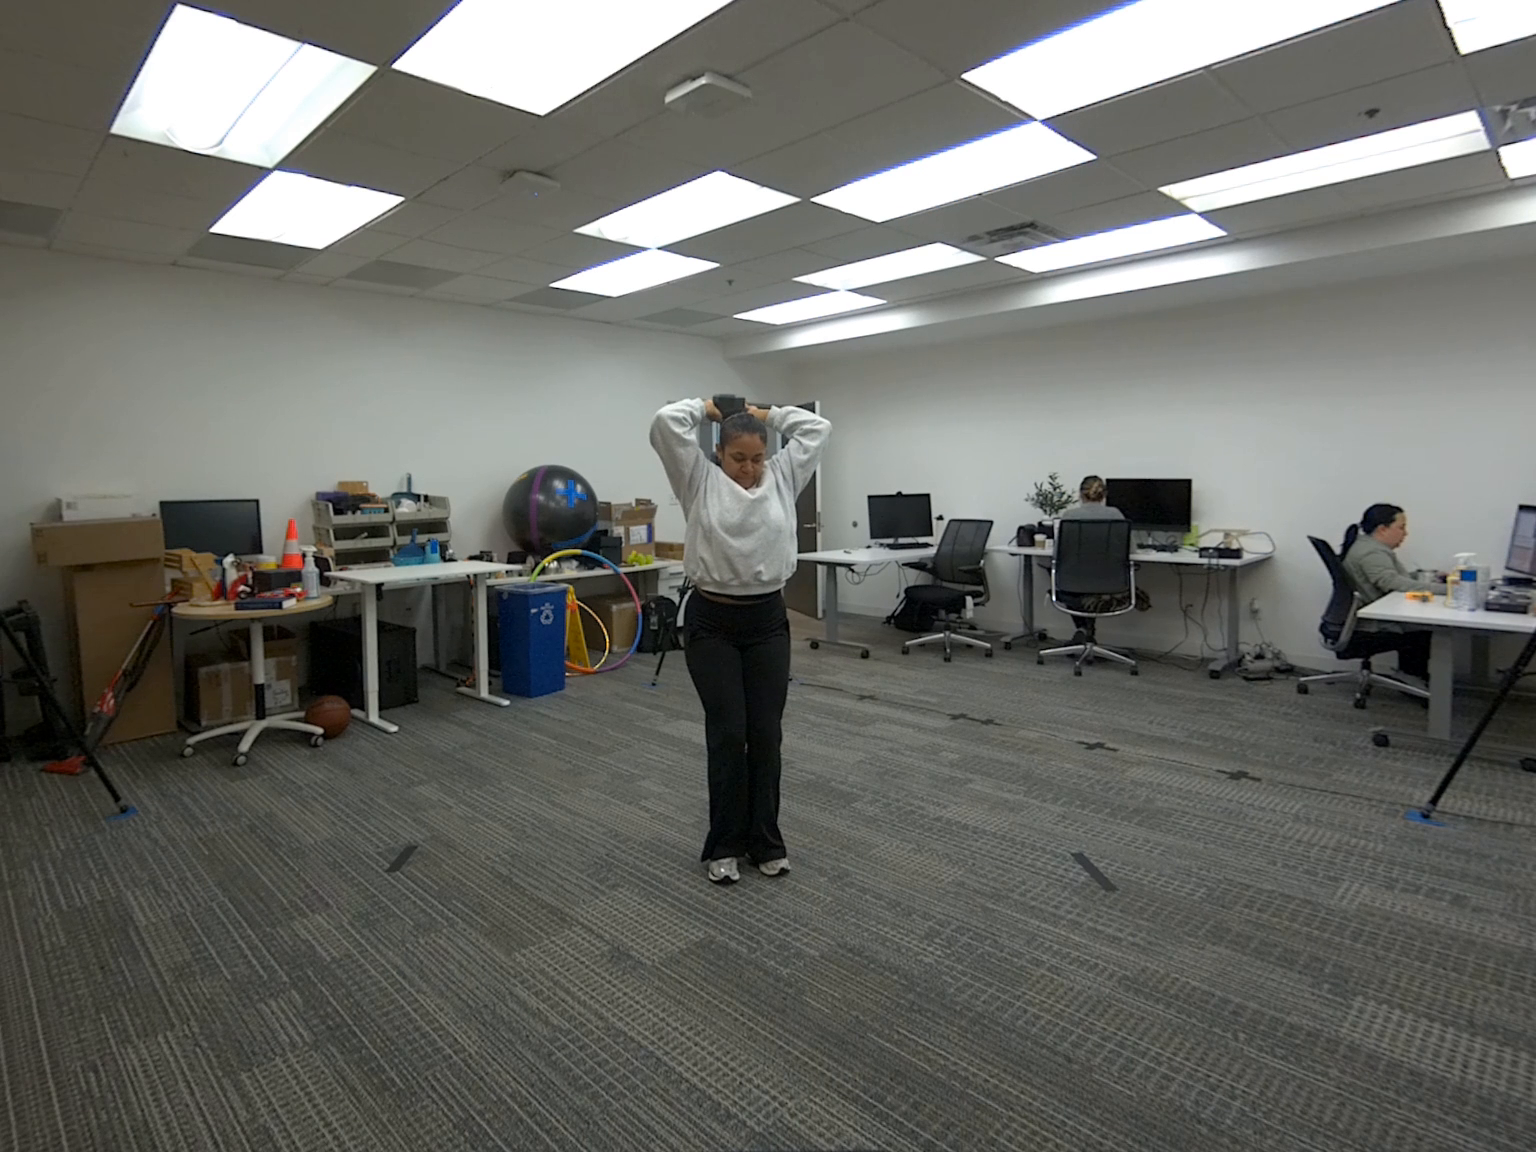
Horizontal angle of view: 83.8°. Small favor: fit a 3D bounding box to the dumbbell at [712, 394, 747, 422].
[{"bbox_3d":[-0.136,-0.537,3.155,0.112,0.291,0.120,14,14,32],"label":"dumbbell"}]
